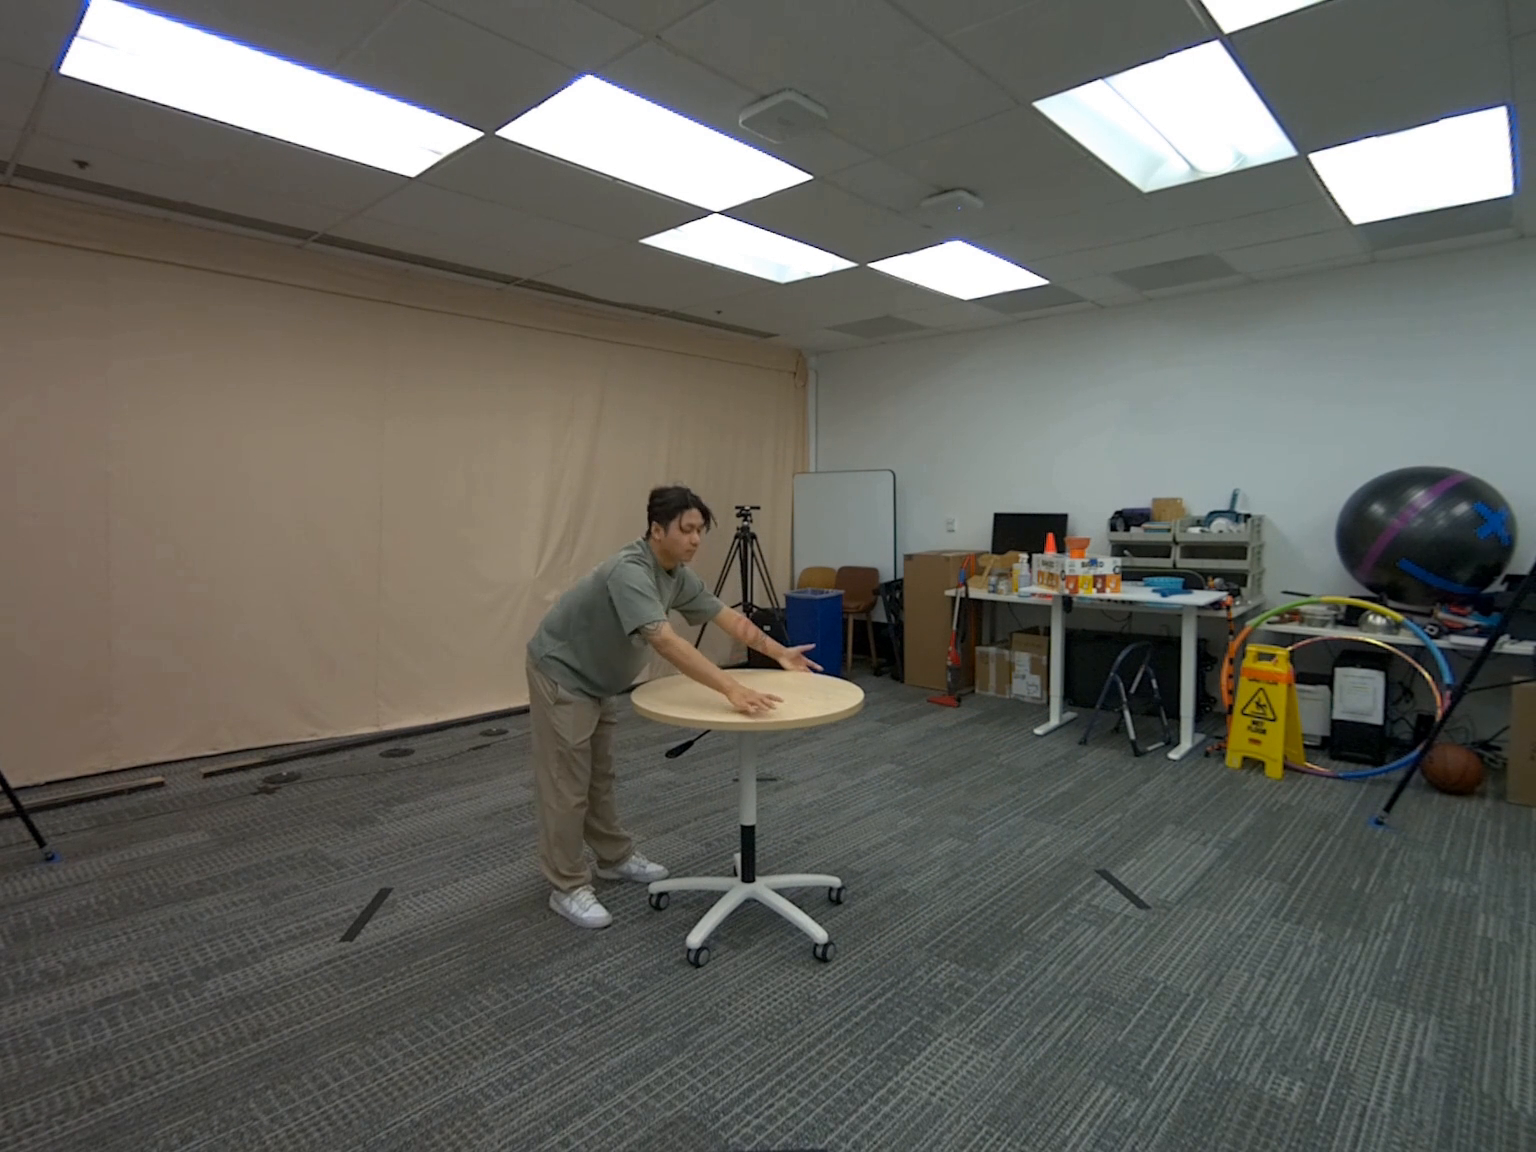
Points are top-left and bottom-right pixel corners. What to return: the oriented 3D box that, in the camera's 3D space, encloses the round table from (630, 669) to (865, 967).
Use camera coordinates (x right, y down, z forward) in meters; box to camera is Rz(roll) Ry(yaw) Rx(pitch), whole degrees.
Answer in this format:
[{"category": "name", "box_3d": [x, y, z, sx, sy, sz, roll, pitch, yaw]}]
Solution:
[{"category": "round table", "box_3d": [-0.057, 0.768, 2.814, 0.784, 0.784, 0.788, -1, 4, -2]}]
